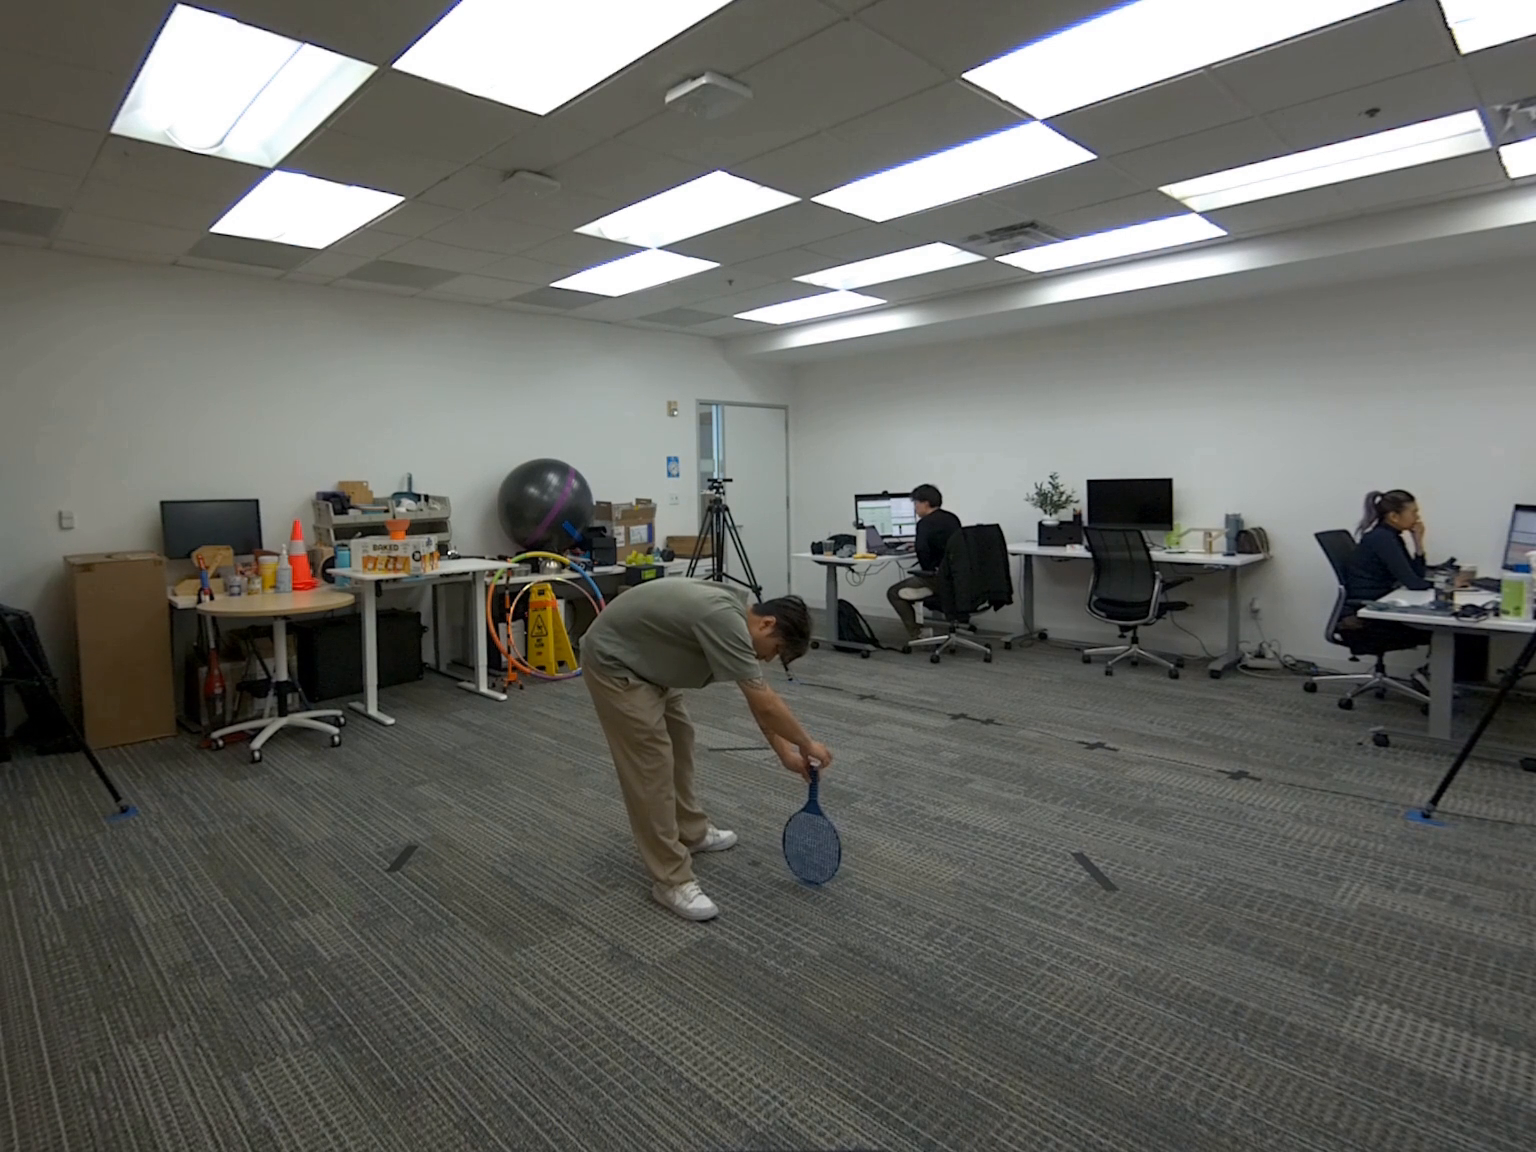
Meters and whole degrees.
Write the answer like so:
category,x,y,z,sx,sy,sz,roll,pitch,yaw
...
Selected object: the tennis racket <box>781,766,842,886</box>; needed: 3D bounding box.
category,x,y,z,sx,sy,sz,roll,pitch,yaw
tennis racket,0.153,0.847,2.913,0.219,0.429,0.031,7,10,25
